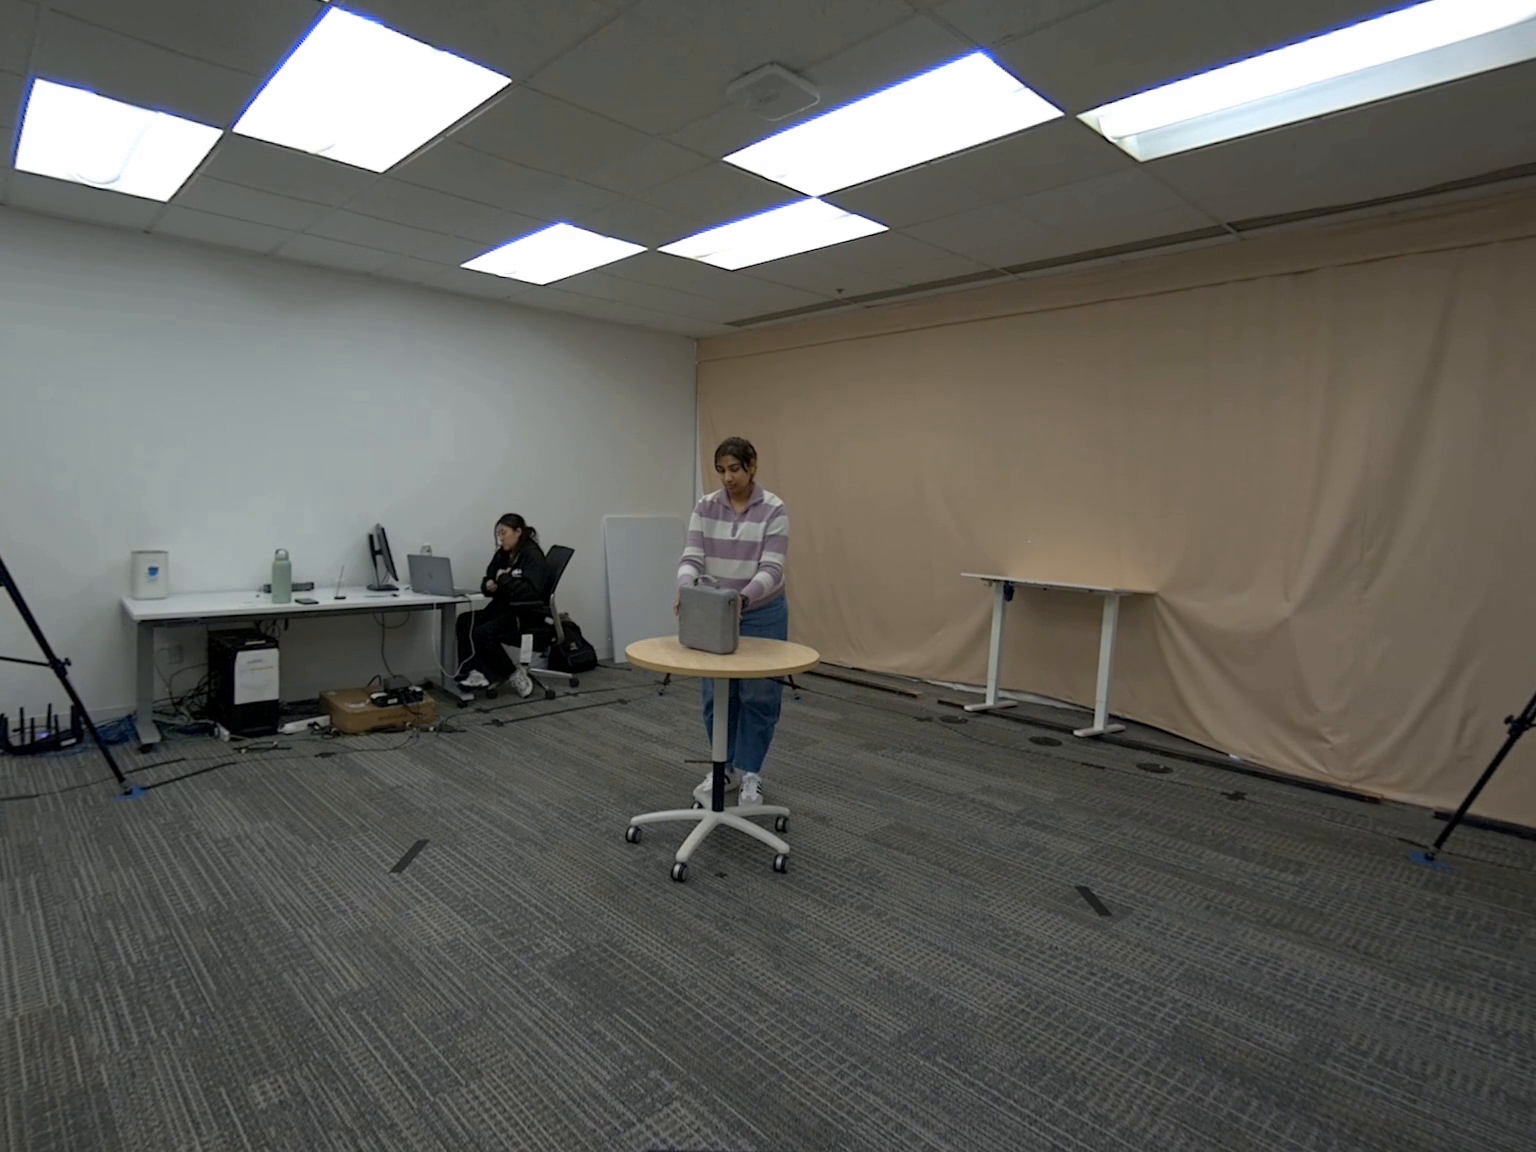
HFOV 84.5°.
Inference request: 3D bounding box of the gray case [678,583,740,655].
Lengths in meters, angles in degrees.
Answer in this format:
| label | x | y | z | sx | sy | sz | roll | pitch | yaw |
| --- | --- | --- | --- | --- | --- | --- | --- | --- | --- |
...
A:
| label | x | y | z | sx | sy | sz | roll | pitch | yaw |
| --- | --- | --- | --- | --- | --- | --- | --- | --- | --- |
| gray case | -0.241 | 0.163 | 3.327 | 0.264 | 0.259 | 0.102 | 8 | 10 | 43 |
